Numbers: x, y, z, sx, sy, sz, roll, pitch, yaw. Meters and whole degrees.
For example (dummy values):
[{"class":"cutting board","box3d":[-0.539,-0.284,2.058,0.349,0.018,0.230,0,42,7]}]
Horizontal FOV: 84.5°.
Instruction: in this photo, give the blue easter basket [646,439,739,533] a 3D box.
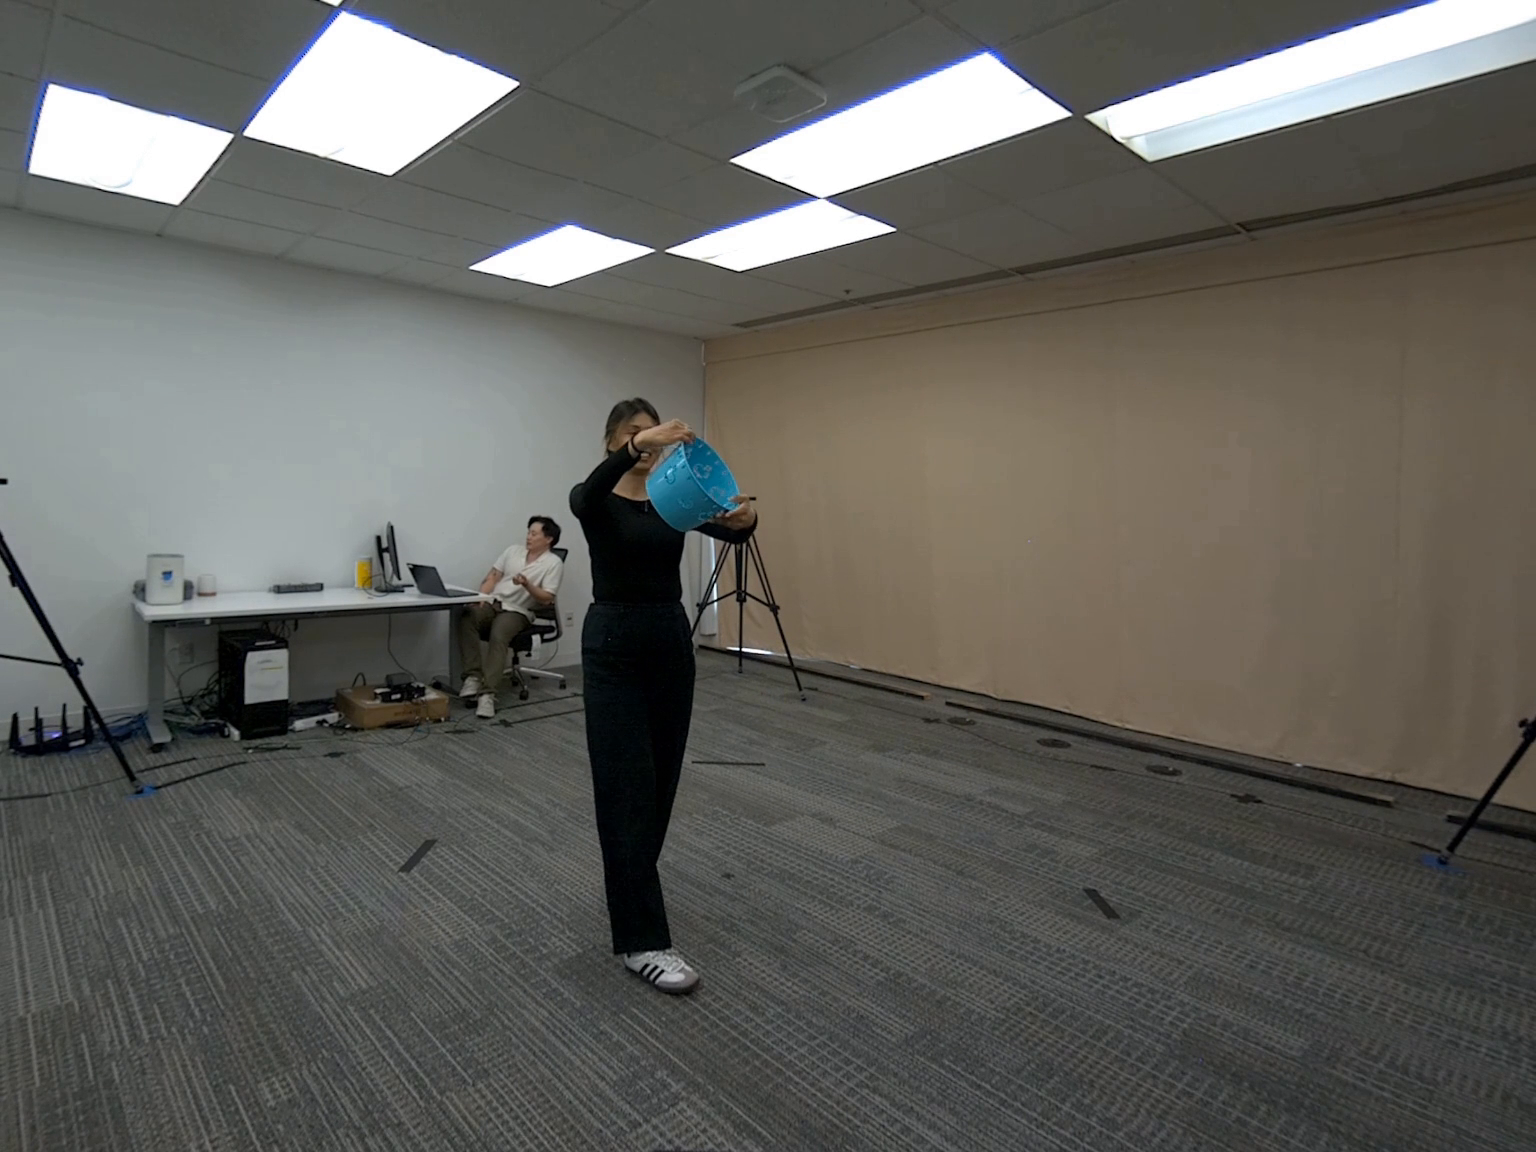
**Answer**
[{"class":"blue easter basket","box3d":[-0.201,-0.231,2.209,0.156,0.246,0.239,-35,-11,23]}]
